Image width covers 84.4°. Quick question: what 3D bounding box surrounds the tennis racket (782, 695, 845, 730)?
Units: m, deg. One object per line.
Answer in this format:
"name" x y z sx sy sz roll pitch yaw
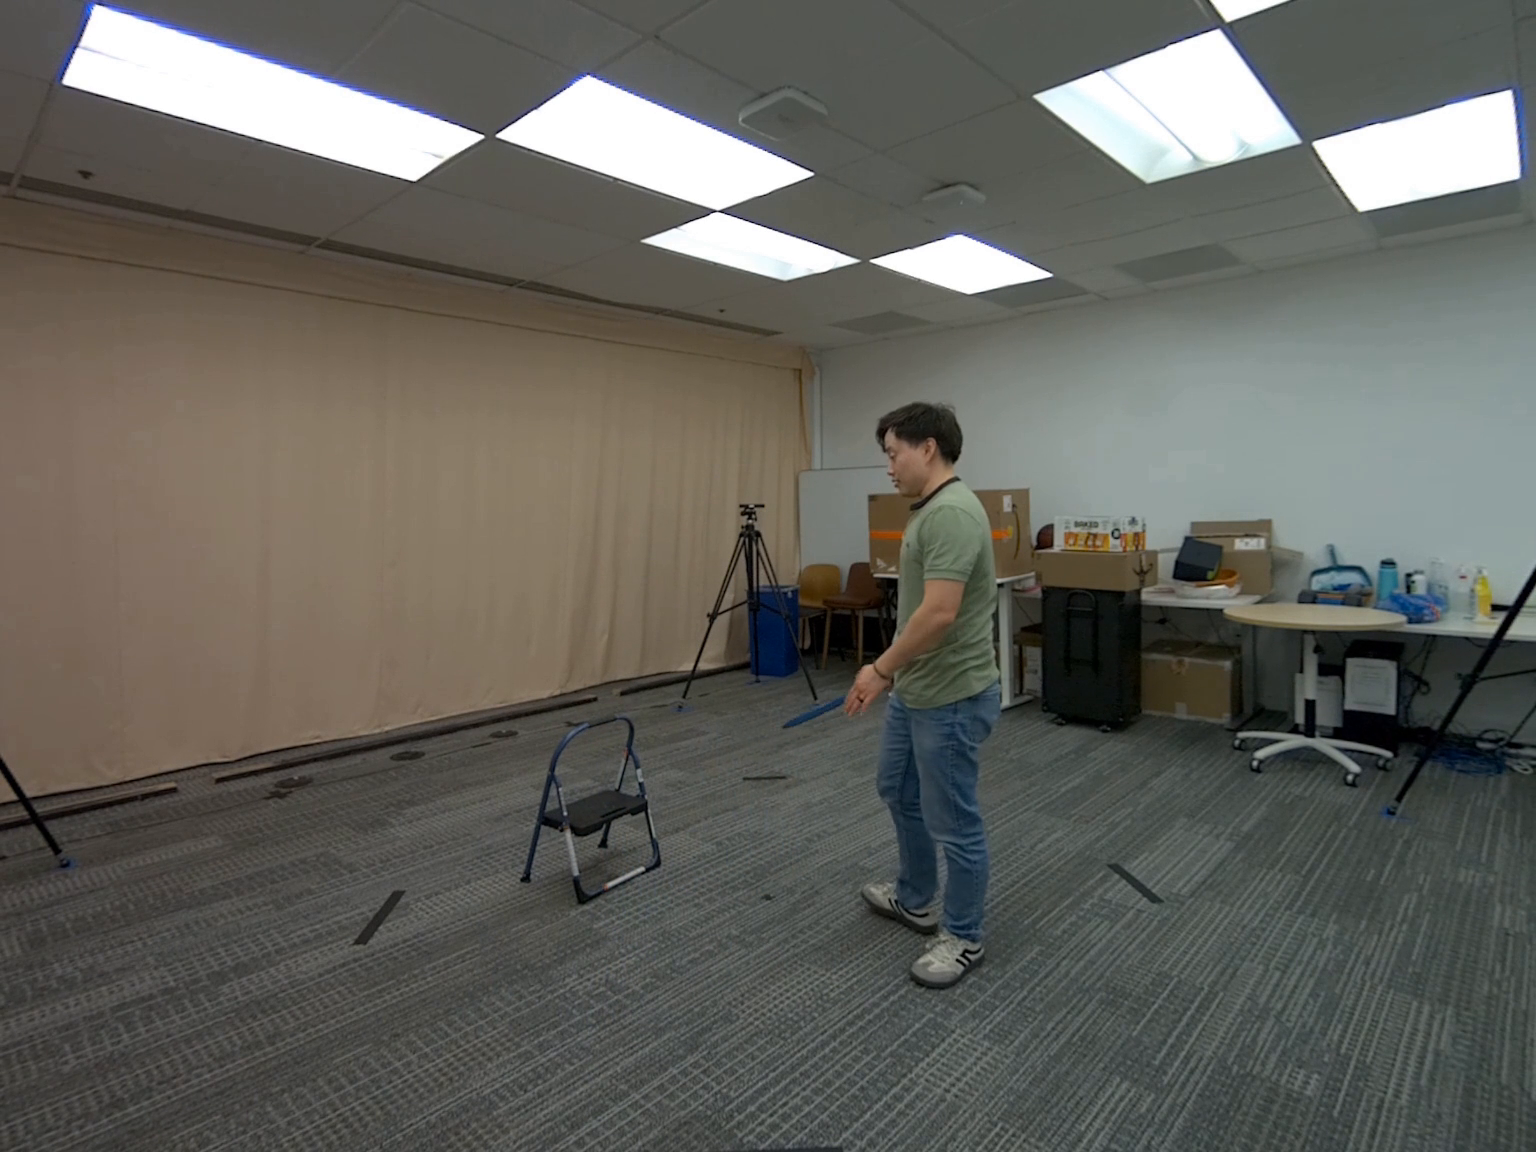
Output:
"tennis racket" 0.244 0.401 2.792 0.430 0.032 0.211 -23 -14 -7
